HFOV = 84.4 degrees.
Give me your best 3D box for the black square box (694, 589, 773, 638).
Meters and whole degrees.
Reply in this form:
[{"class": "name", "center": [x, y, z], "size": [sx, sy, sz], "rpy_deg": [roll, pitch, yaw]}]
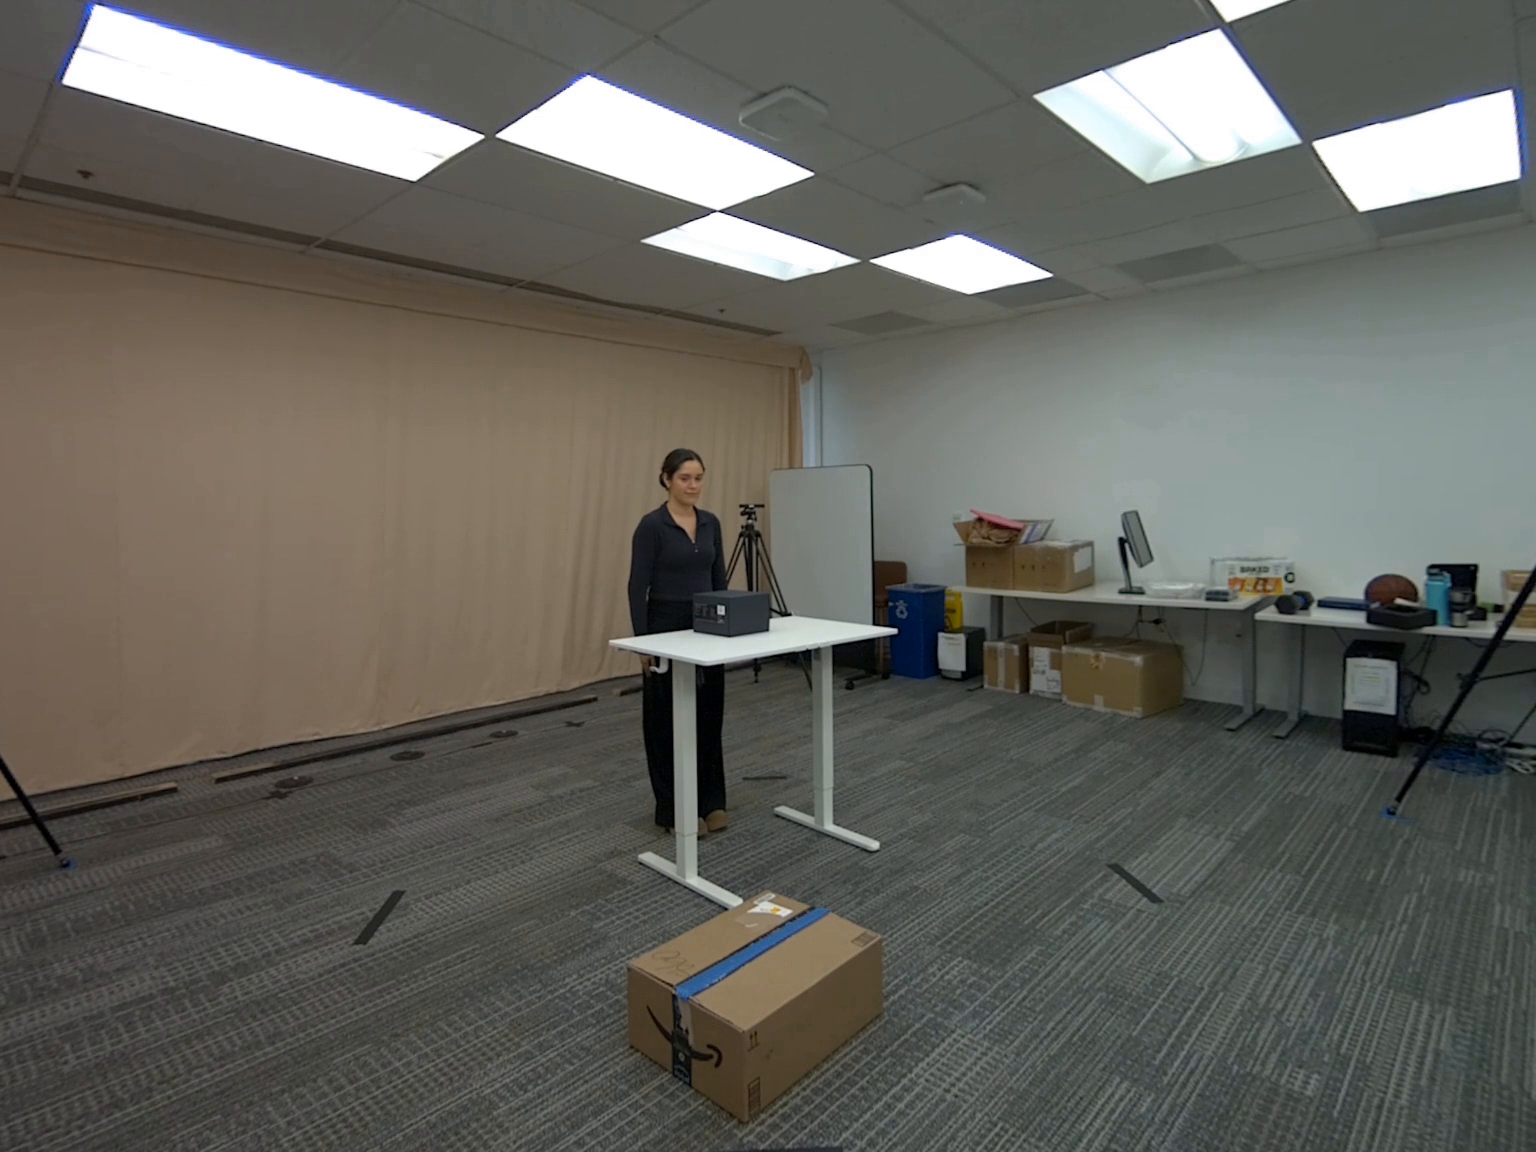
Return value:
[{"class": "black square box", "center": [-0.143, 0.146, 3.402], "size": [0.224, 0.155, 0.221], "rpy_deg": [3, 5, 45]}]
